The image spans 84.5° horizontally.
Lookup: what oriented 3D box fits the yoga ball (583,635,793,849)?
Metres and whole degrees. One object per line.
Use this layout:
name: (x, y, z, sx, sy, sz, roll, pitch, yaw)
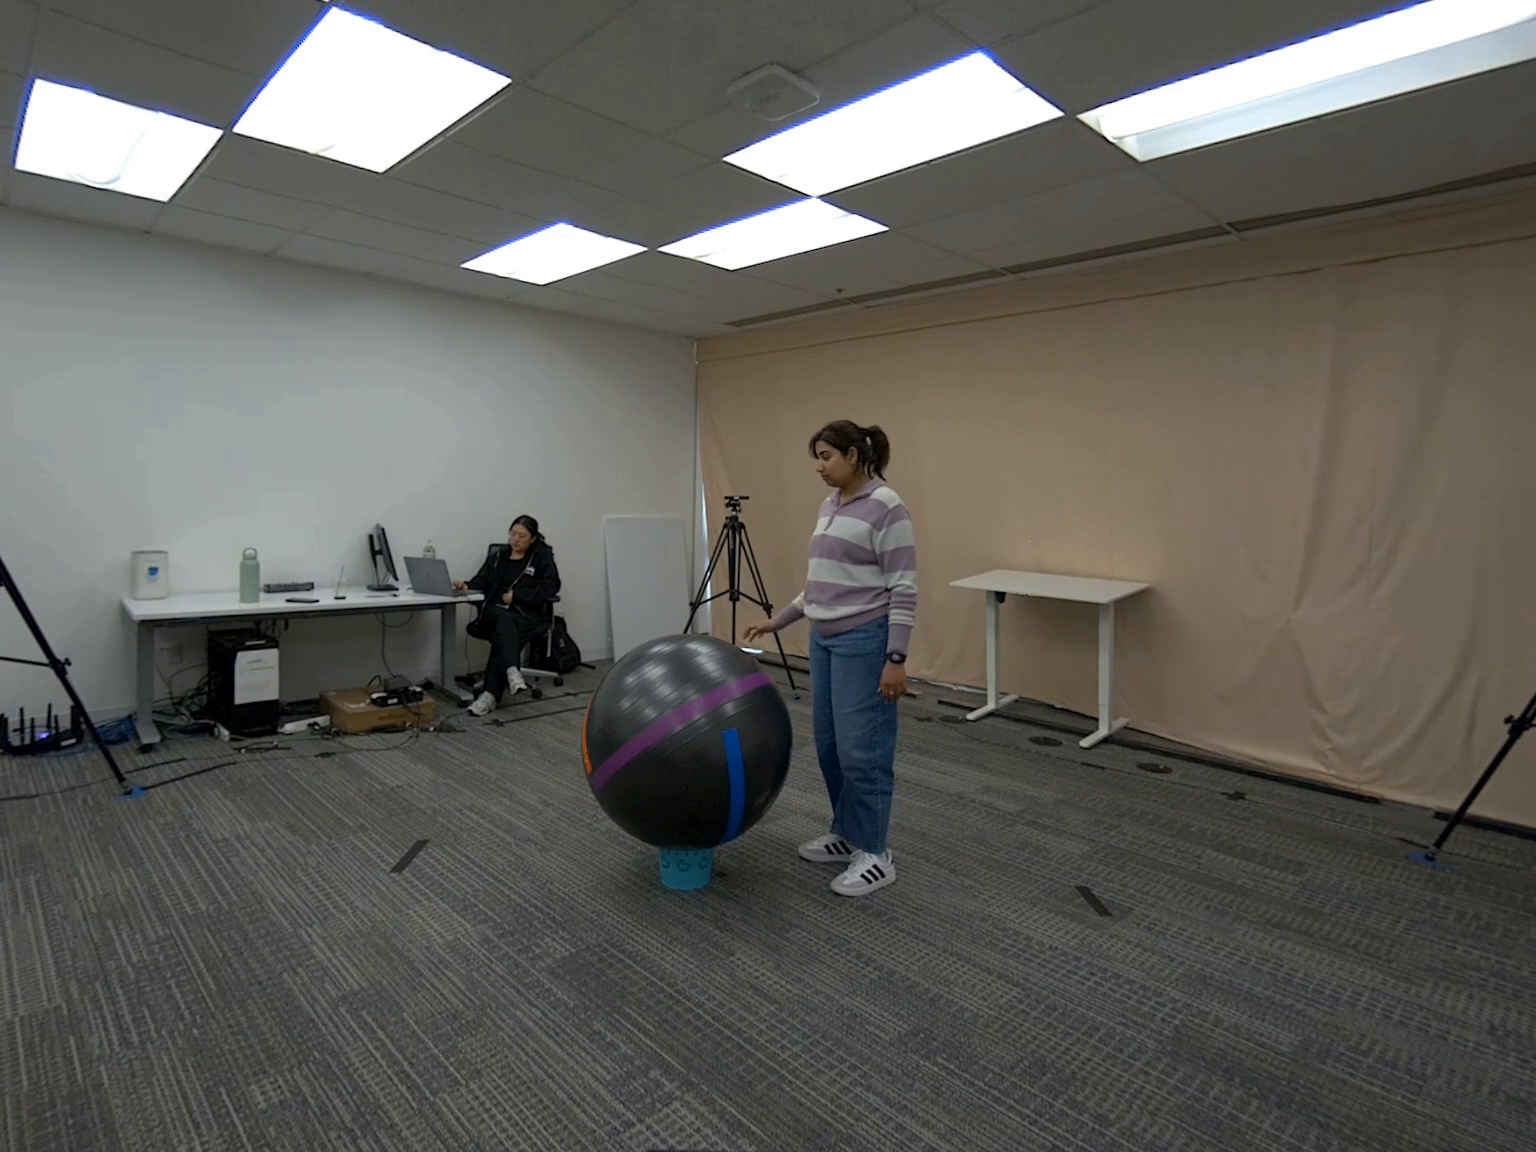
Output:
yoga ball: (-0.296, 0.592, 3.041, 0.757, 0.756, 0.761, 1, 4, -1)
